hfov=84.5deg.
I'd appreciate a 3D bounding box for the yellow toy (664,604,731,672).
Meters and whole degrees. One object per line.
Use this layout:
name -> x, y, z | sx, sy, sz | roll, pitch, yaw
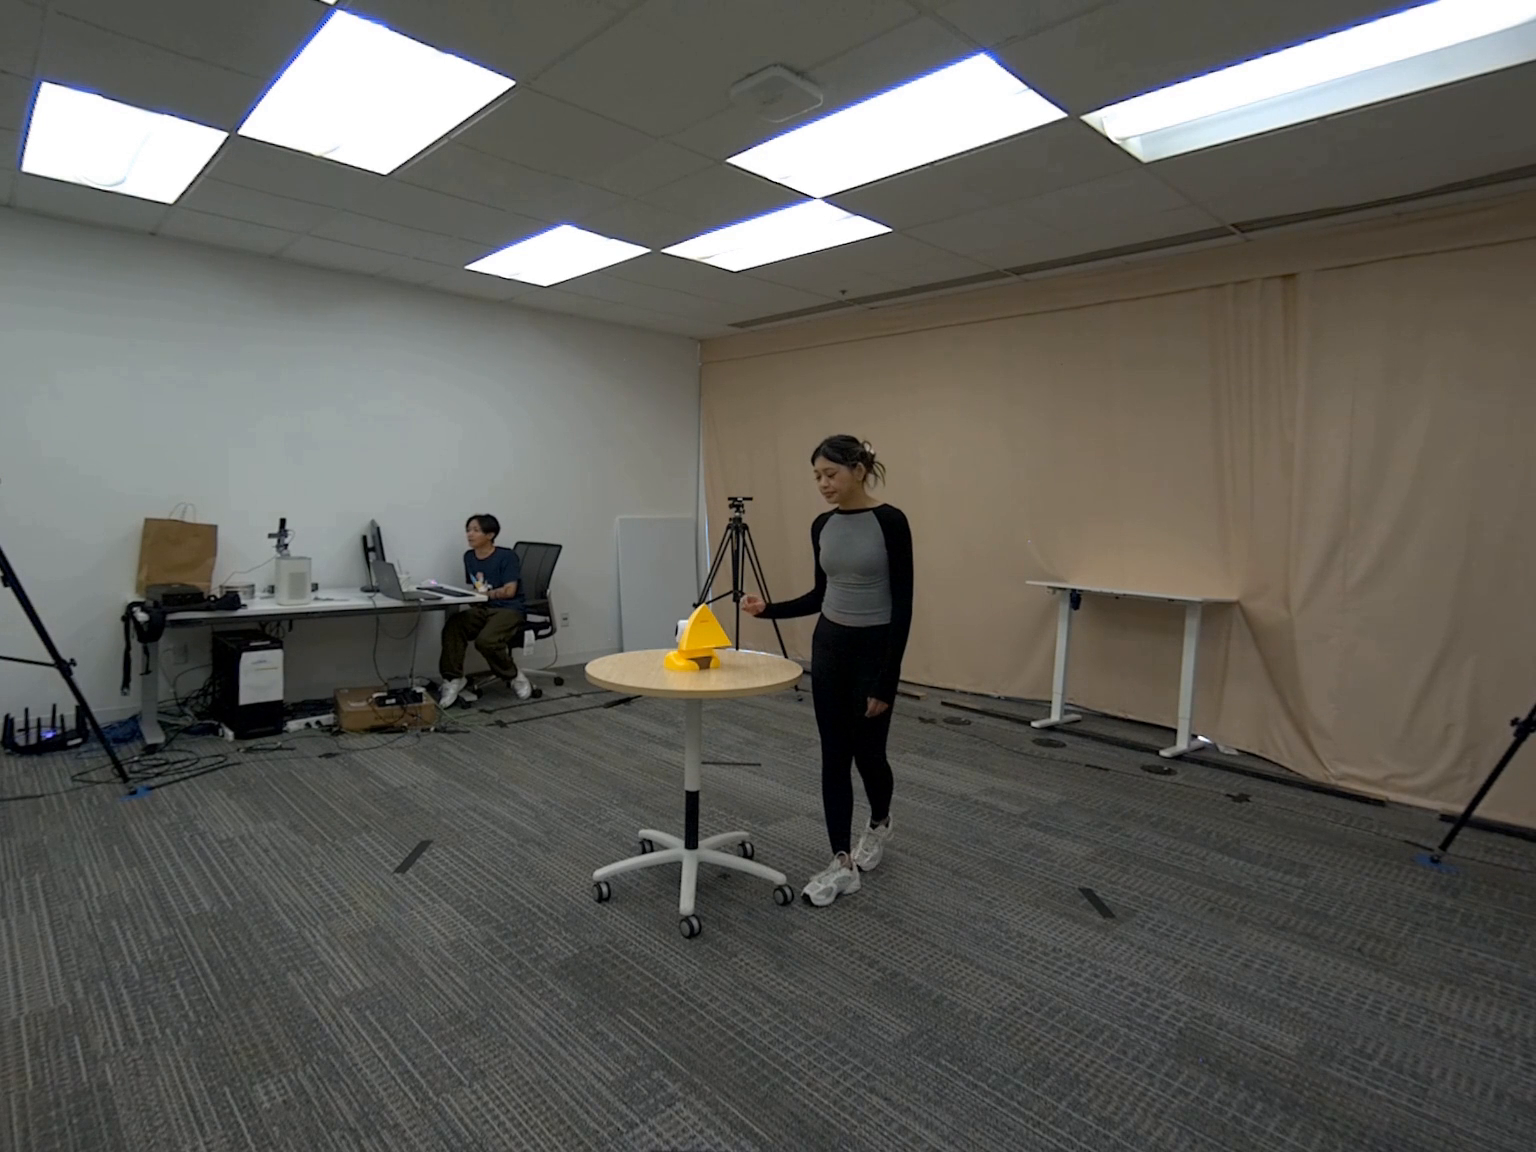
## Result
yellow toy -> -0.269, 0.206, 2.993 | 0.200, 0.230, 0.198 | -2, 4, -39
